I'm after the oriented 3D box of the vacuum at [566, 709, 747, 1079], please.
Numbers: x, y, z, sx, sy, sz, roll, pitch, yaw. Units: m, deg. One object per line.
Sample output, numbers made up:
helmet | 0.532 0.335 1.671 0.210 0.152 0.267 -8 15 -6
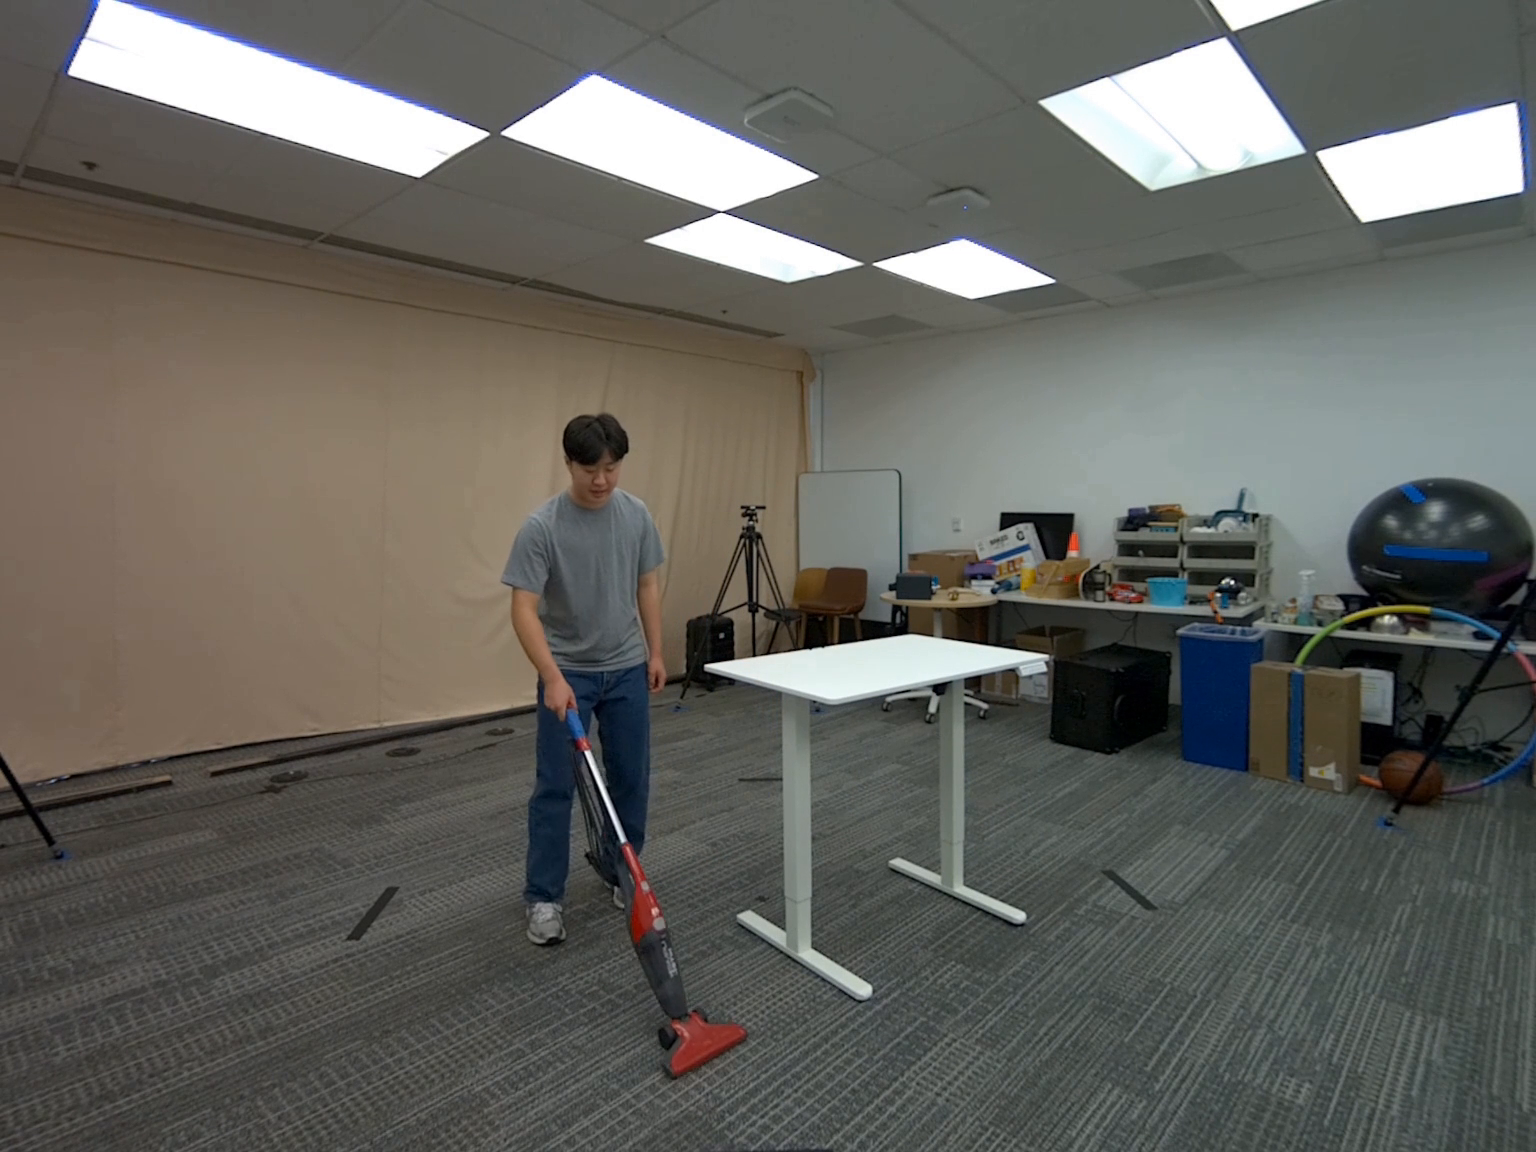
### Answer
vacuum | -0.416 0.798 2.402 0.244 1.077 0.145 2 -41 -46
